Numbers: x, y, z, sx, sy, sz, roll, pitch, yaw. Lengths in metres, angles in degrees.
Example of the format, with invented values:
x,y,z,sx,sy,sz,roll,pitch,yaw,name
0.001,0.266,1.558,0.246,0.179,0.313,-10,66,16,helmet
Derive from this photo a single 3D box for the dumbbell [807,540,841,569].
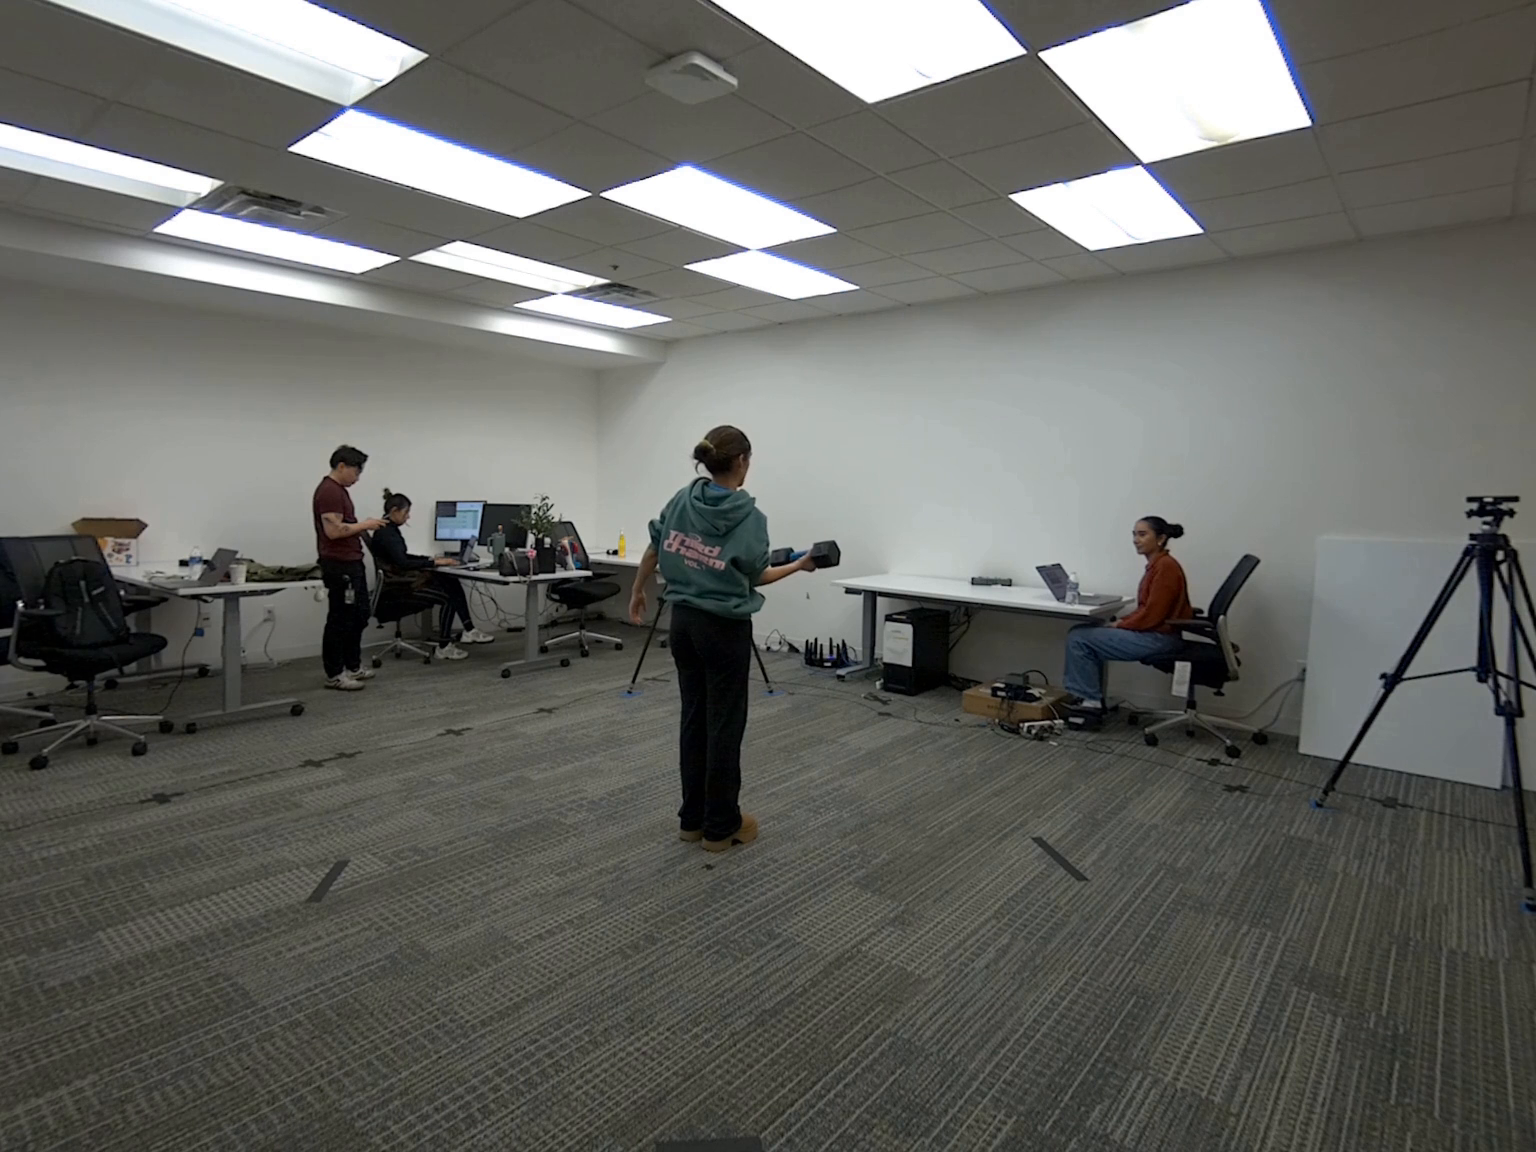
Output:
x,y,z,sx,sy,sz,roll,pitch,yaw,name
0.140,-0.079,3.488,0.301,0.109,0.120,-10,0,38,dumbbell
